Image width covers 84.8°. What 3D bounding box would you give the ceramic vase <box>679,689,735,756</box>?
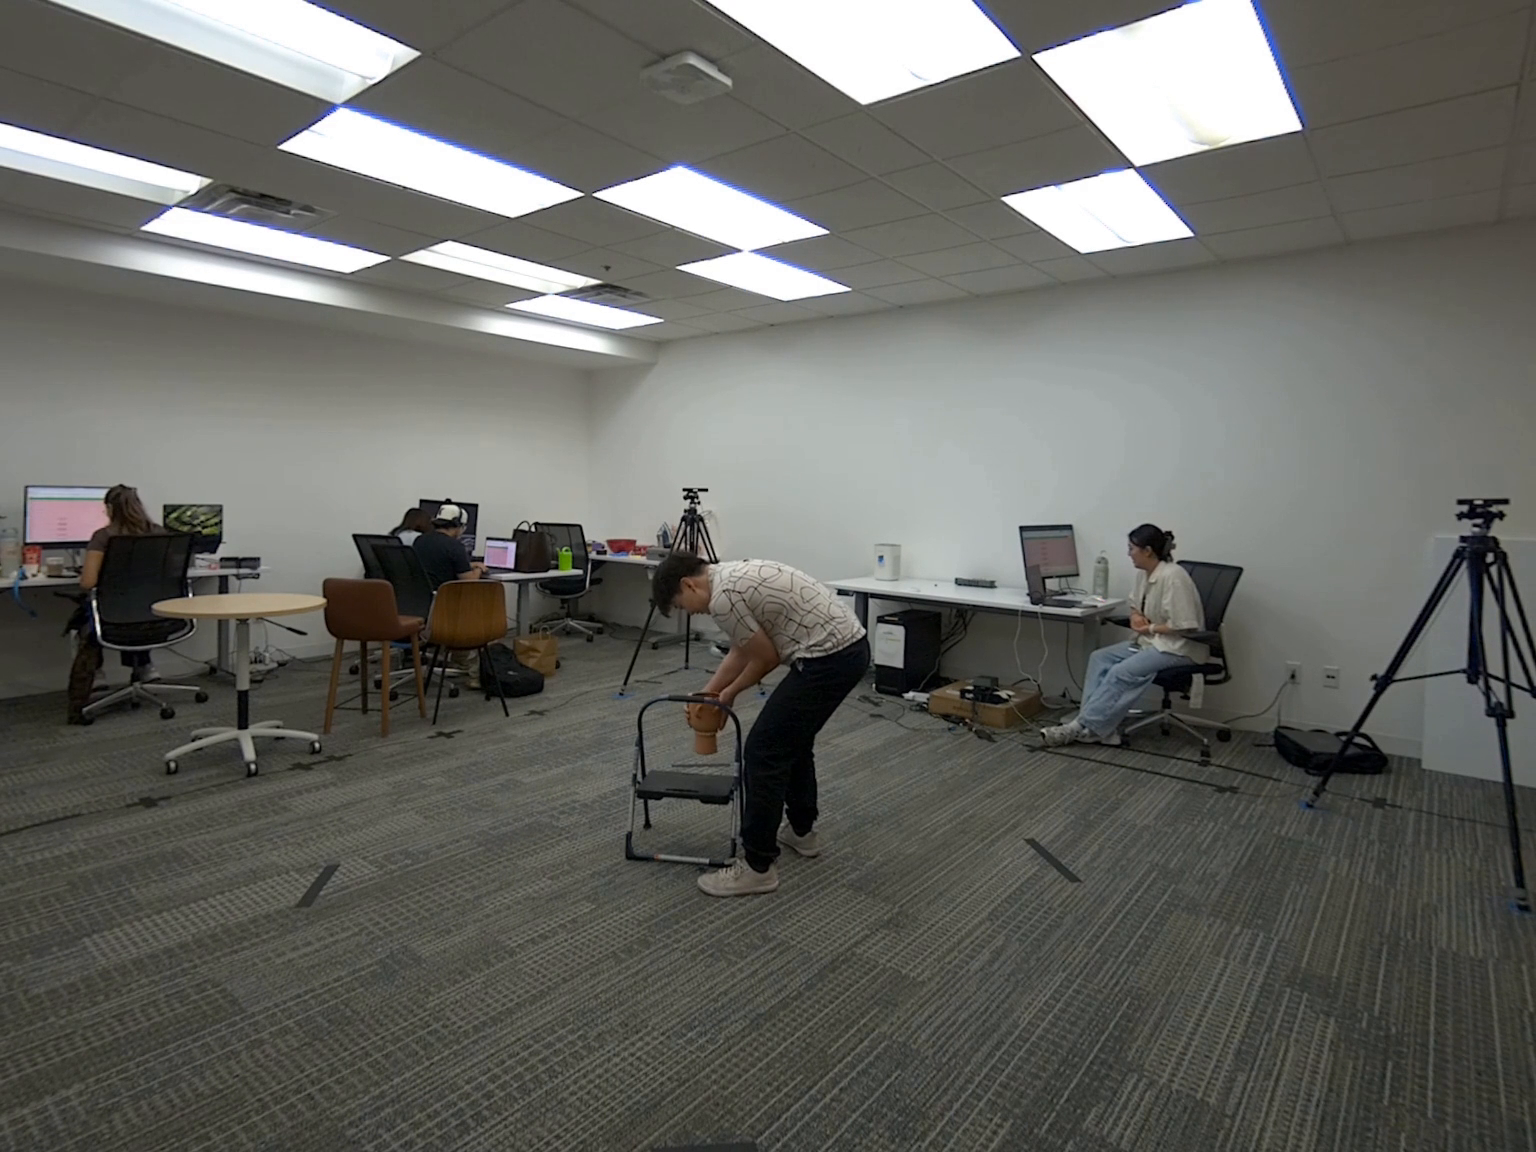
[{"bbox_3d":[-0.244,0.569,3.309,0.154,0.219,0.139,1,3,-35],"label":"ceramic vase"}]
